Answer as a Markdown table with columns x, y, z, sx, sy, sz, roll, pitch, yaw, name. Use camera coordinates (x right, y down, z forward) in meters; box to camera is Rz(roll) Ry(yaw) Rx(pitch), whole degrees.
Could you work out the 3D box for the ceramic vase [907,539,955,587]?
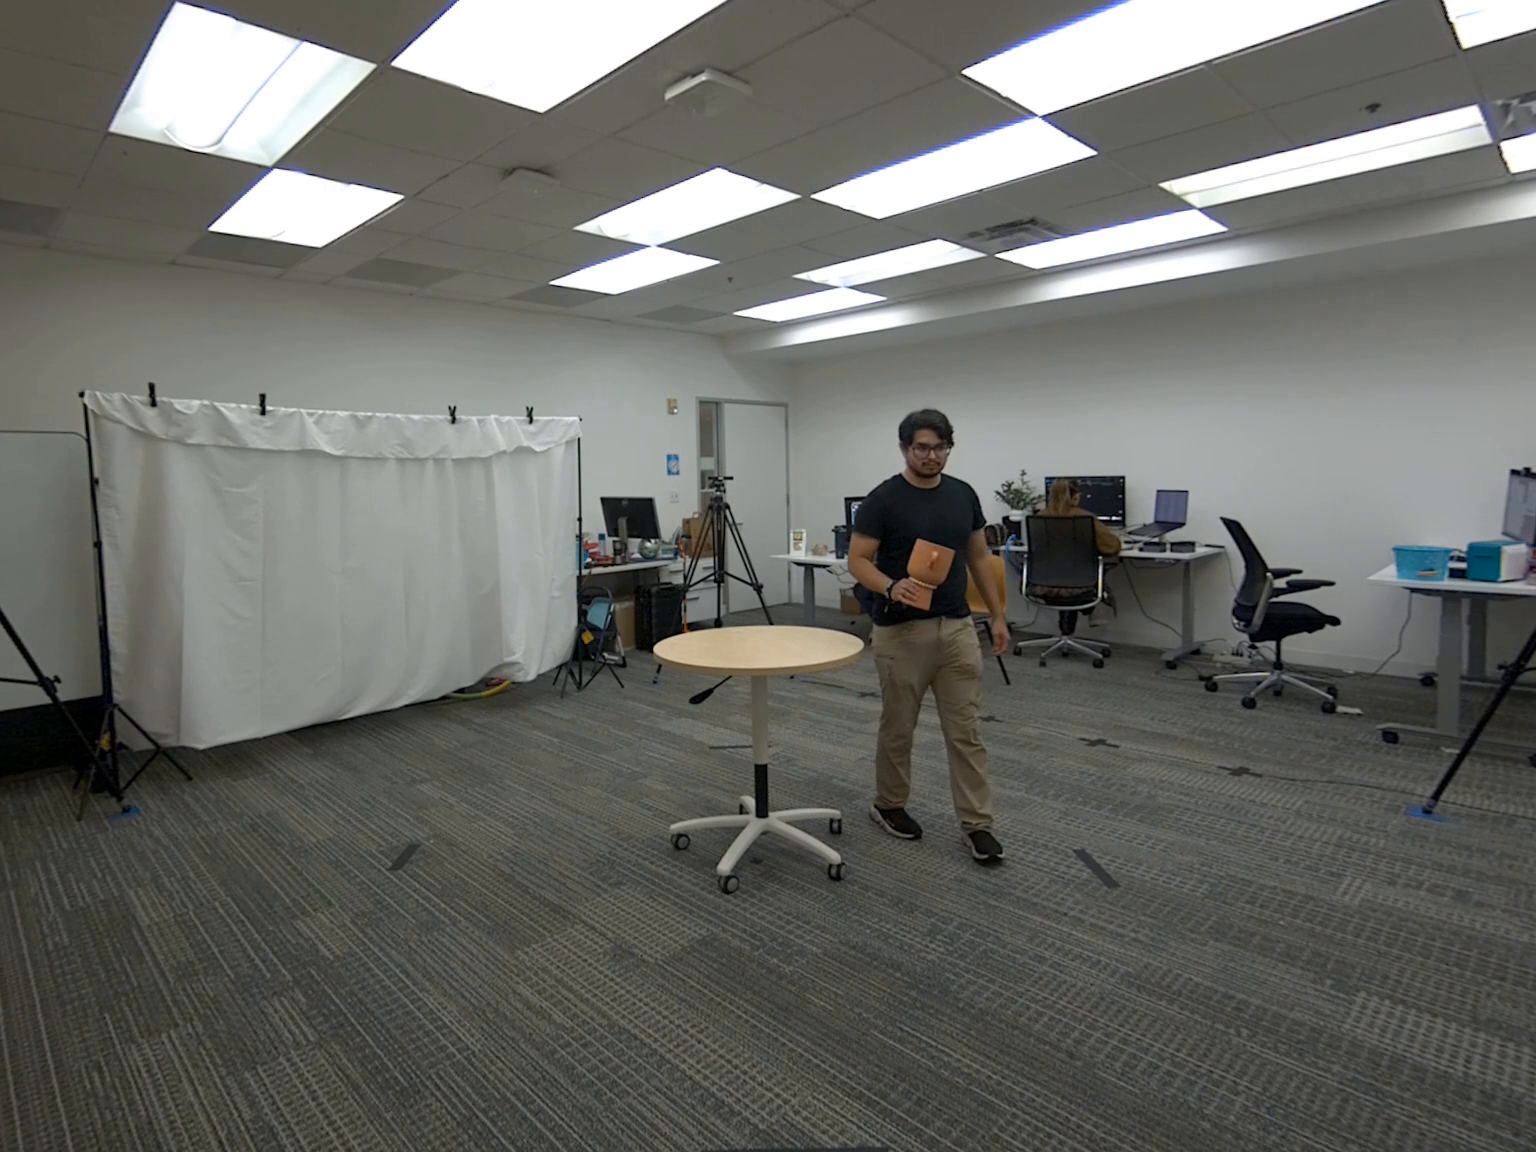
| x | y | z | sx | sy | sz | roll | pitch | yaw | name |
| --- | --- | --- | --- | --- | --- | --- | --- | --- | --- |
| 0.534 | -0.004 | 2.917 | 0.153 | 0.219 | 0.140 | 14 | 7 | -43 | ceramic vase |
